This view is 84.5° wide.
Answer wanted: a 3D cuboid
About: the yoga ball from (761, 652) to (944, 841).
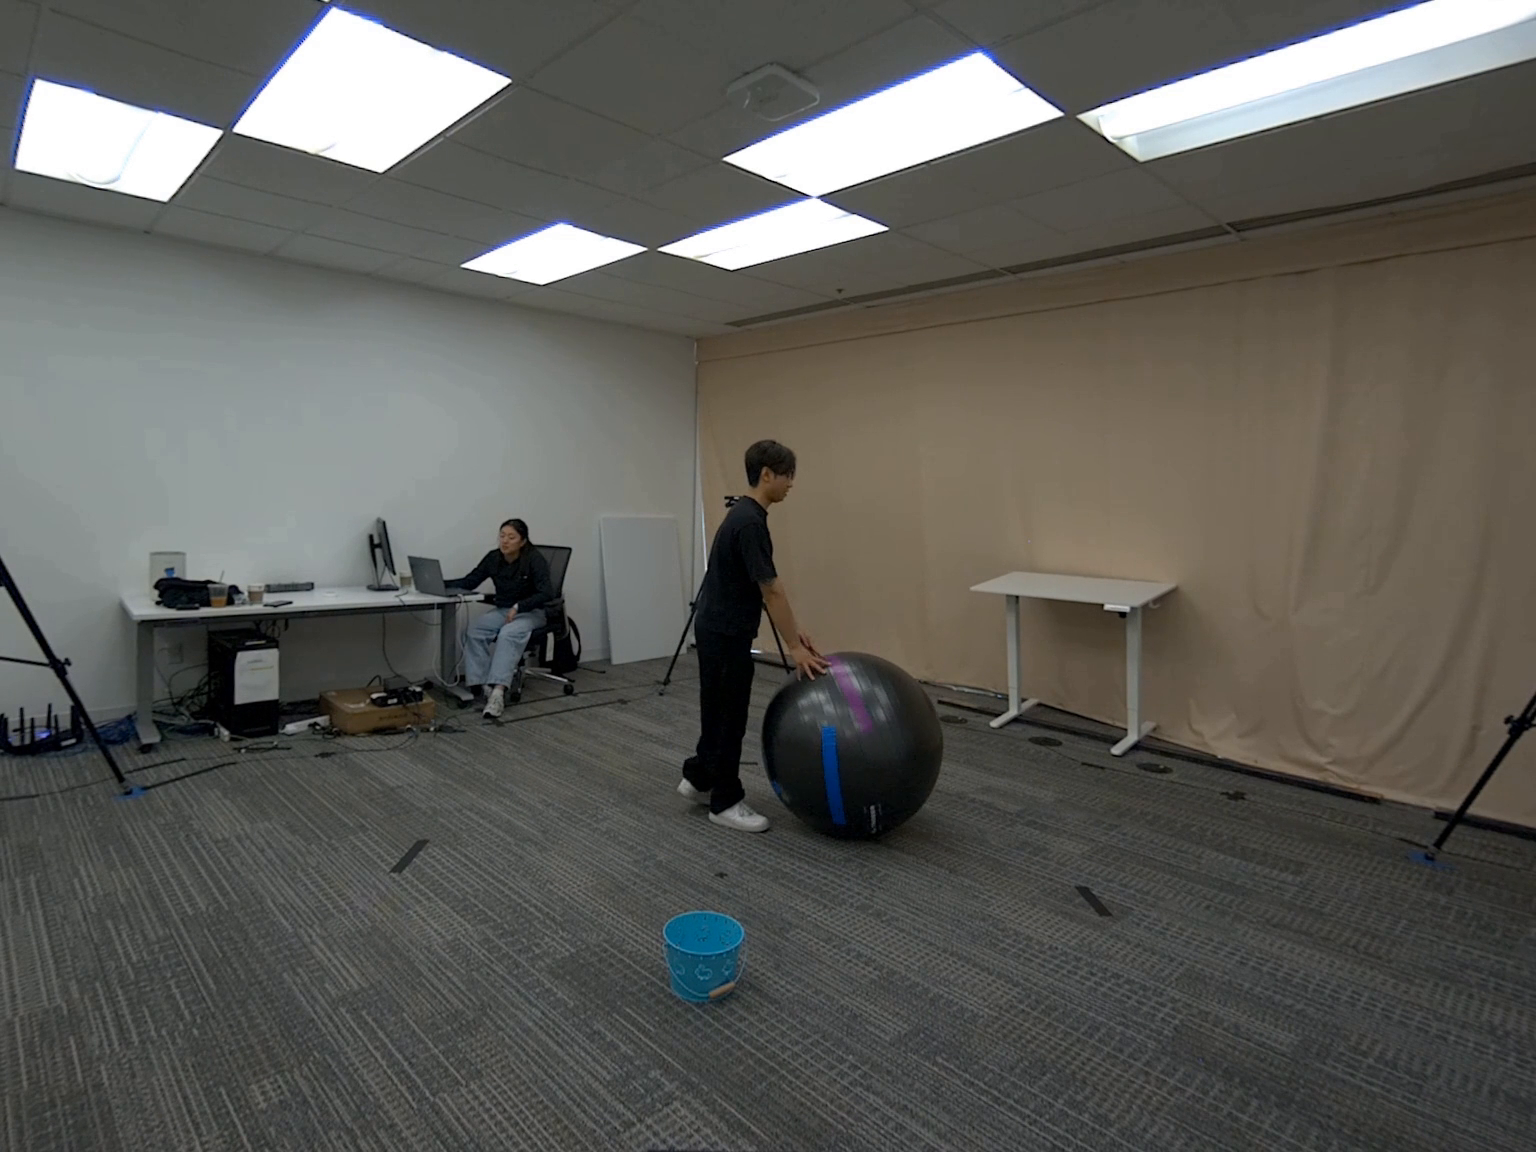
[{"bbox_3d":[0.357,0.716,3.561,0.757,0.756,0.761,1,4,-1],"label":"yoga ball"}]
